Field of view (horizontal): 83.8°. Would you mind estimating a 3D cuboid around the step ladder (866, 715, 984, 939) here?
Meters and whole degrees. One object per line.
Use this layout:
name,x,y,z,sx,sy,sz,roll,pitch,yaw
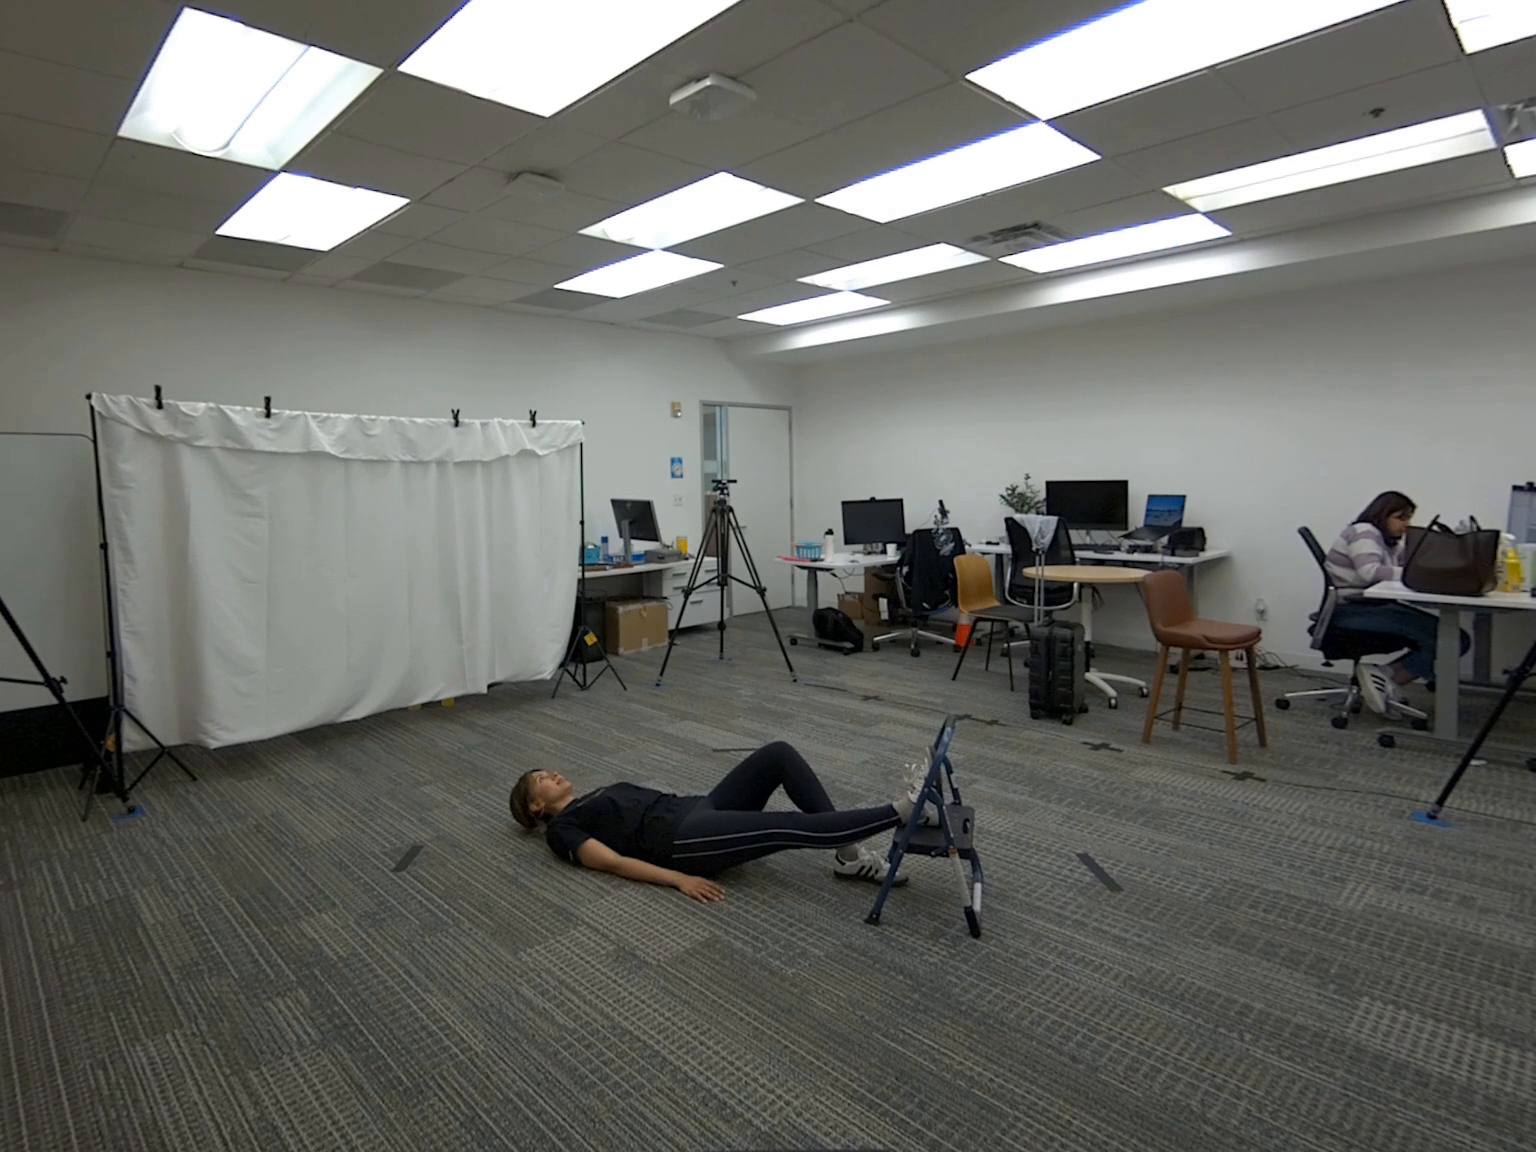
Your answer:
step ladder,0.527,0.772,2.799,0.355,0.604,0.425,0,4,16
